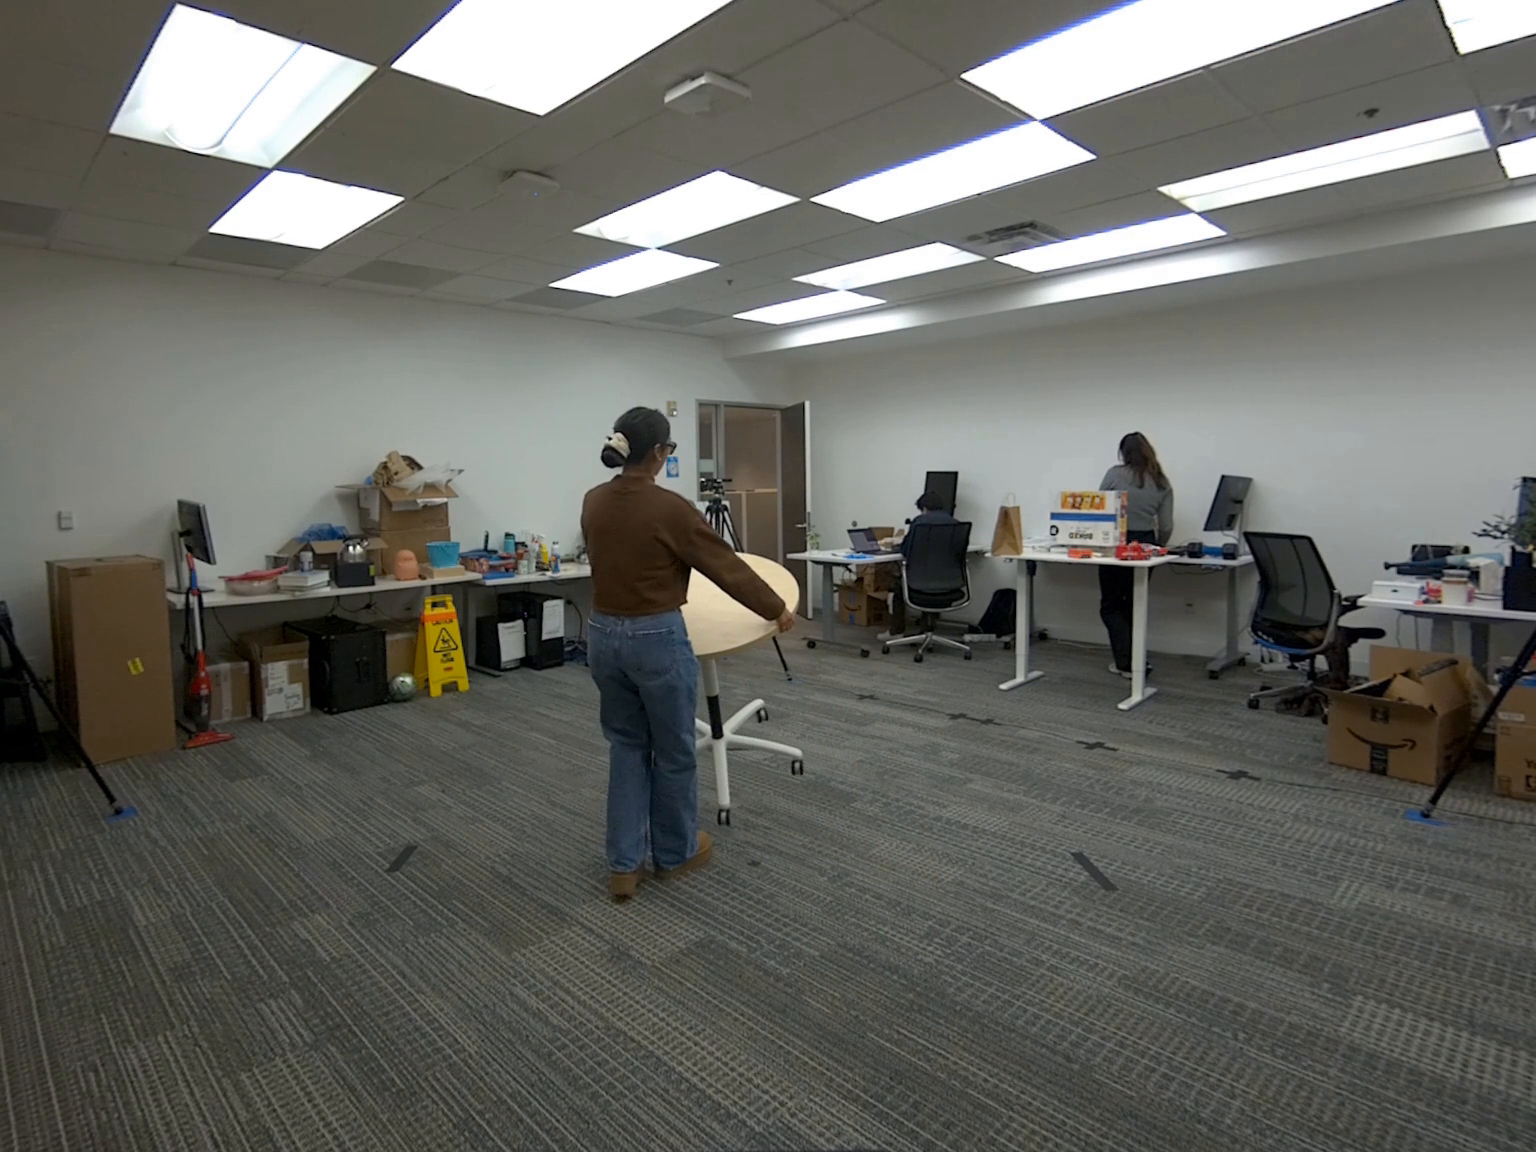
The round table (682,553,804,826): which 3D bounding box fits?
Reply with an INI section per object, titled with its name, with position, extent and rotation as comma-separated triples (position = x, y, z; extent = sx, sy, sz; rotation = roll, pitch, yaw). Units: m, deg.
[round table]
position = -0.235, 0.433, 3.449
extent = 0.786, 0.768, 0.803
rotation = -5, 27, 1
